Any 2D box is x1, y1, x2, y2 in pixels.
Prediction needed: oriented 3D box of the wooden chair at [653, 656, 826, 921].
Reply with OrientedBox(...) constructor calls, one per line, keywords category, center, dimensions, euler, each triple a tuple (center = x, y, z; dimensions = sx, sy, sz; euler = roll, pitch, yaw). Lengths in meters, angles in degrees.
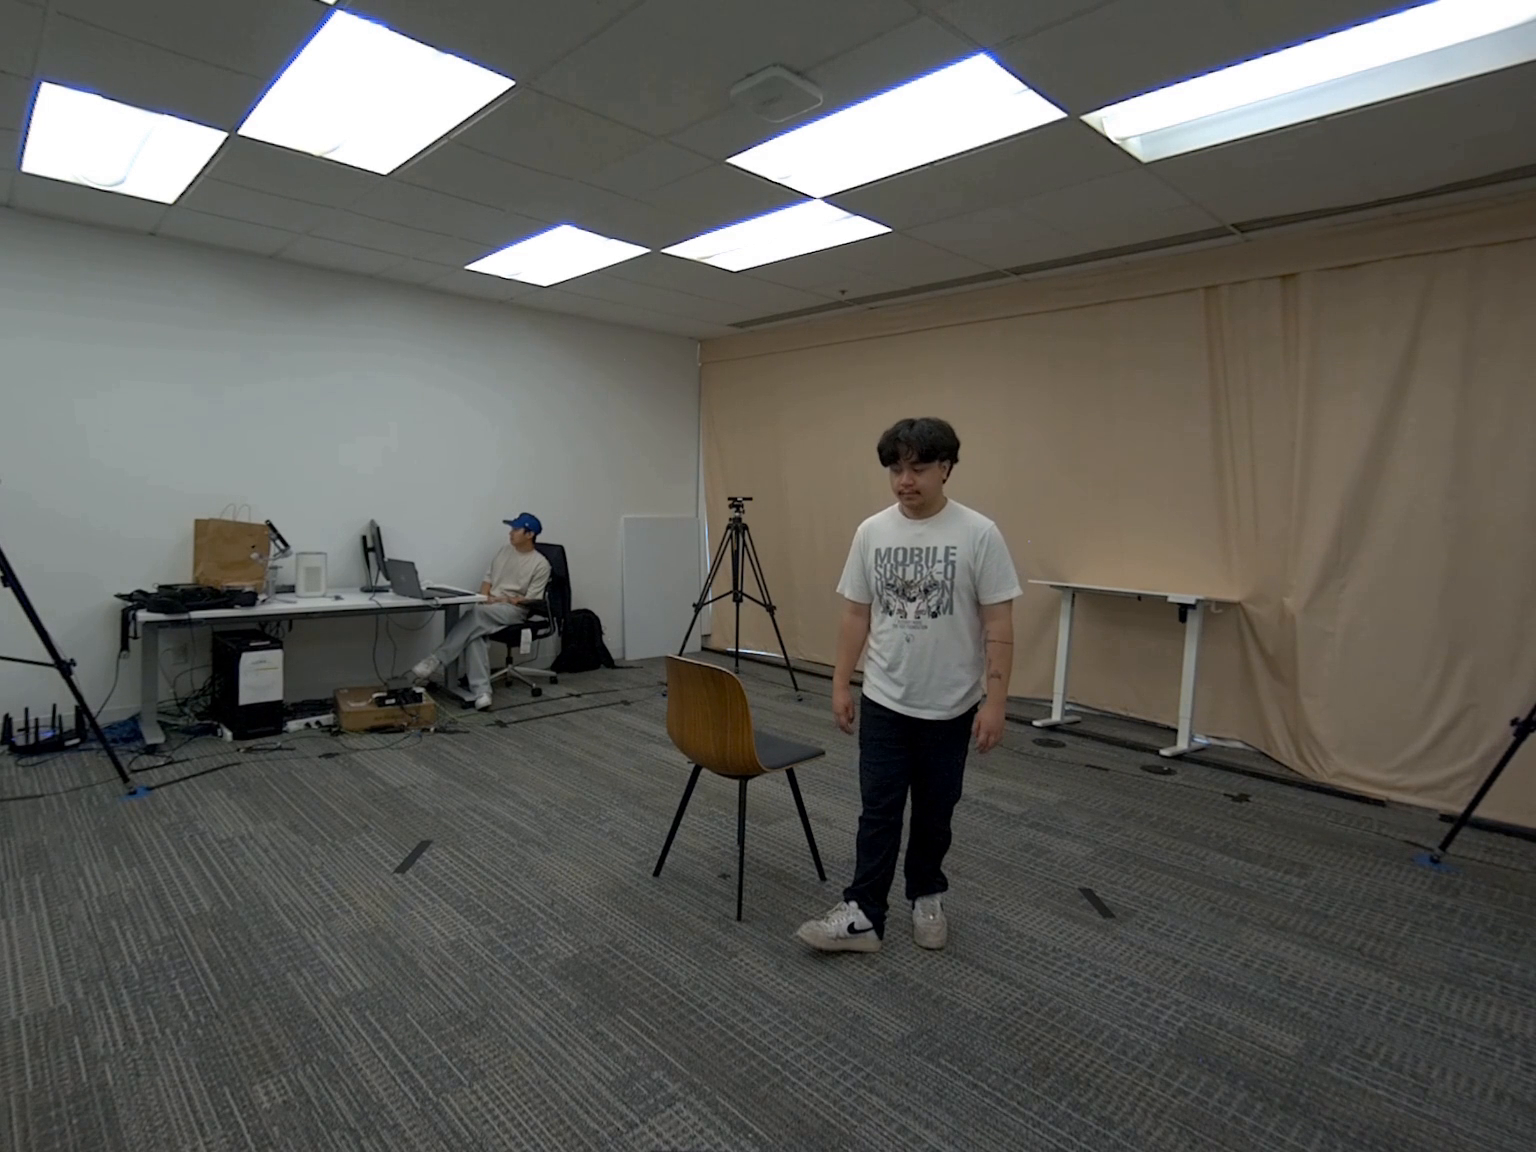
OrientedBox(category="wooden chair", center=(-0.095, 0.684, 3.066), dimensions=(0.490, 0.873, 0.512), euler=(4, 8, 44))
